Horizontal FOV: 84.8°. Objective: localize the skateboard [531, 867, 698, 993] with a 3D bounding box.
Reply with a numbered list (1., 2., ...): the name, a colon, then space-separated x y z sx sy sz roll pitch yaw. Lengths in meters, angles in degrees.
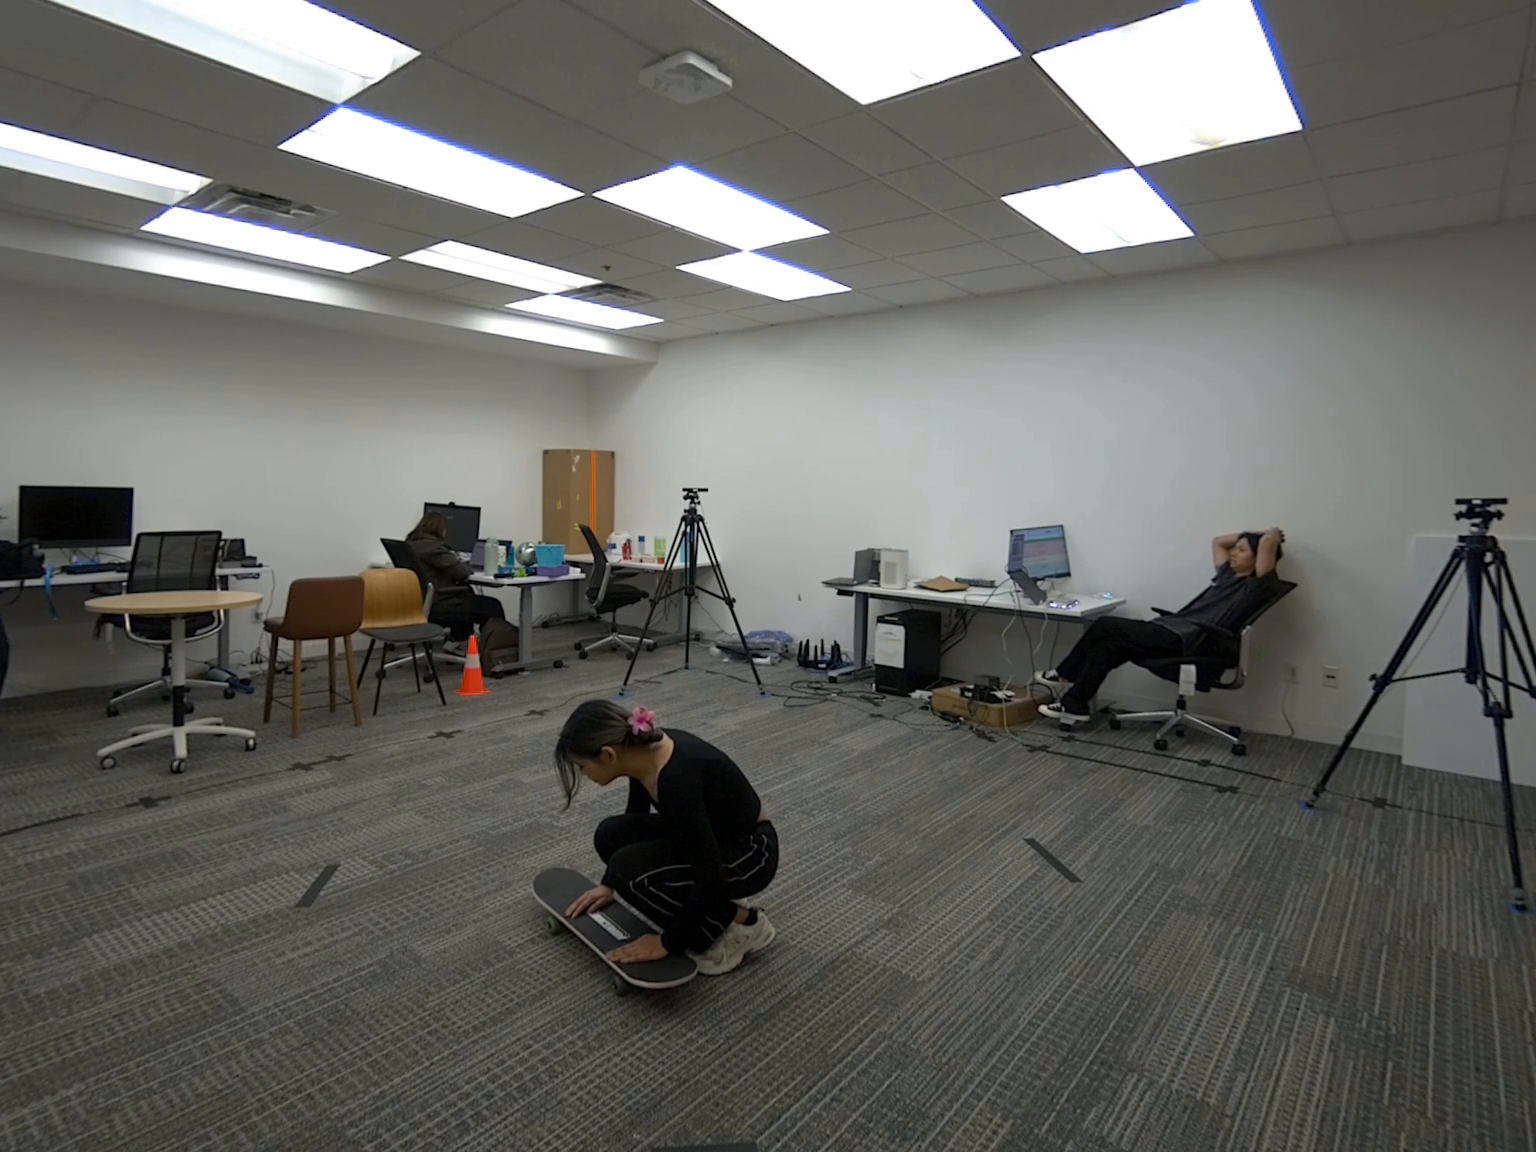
1. skateboard: -0.495 1.067 2.534 0.188 0.110 0.812 -4 8 -38
